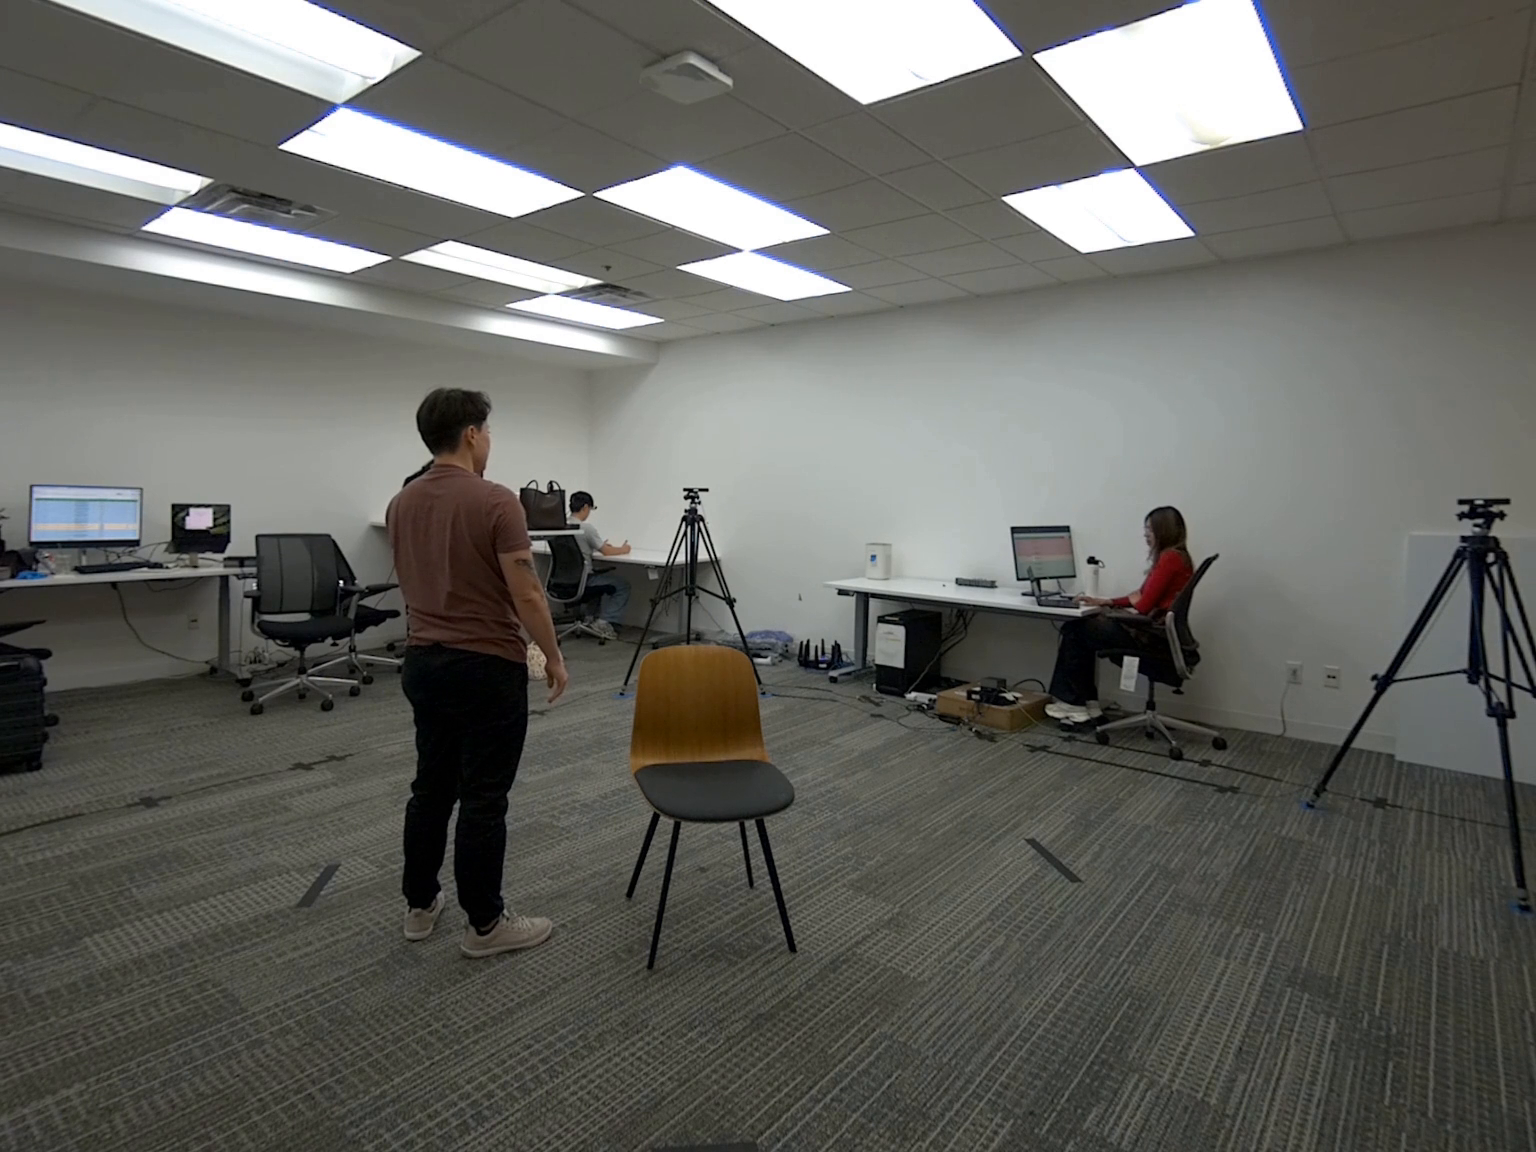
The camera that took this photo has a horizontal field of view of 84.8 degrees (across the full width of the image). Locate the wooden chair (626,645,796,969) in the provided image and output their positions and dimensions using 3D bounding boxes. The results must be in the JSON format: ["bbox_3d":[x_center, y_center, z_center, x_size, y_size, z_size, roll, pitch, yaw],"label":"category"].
[{"bbox_3d":[-0.194,0.687,2.681,0.470,0.878,0.531,0,0,-16],"label":"wooden chair"}]
